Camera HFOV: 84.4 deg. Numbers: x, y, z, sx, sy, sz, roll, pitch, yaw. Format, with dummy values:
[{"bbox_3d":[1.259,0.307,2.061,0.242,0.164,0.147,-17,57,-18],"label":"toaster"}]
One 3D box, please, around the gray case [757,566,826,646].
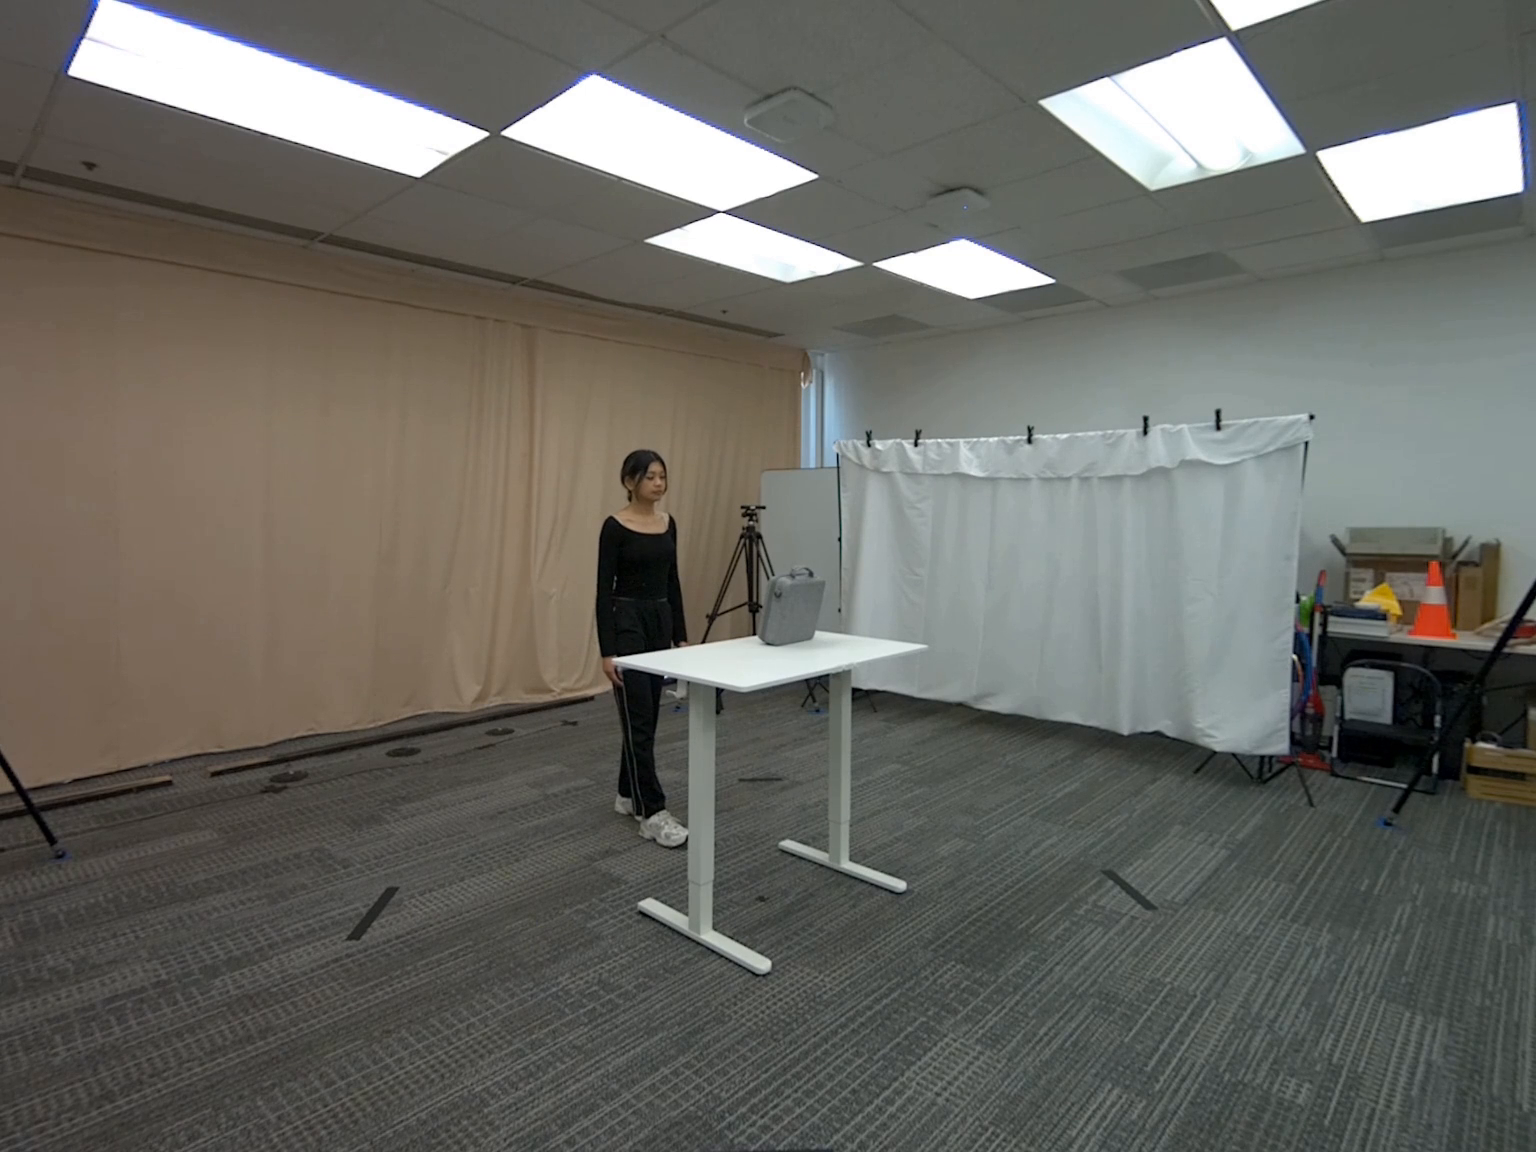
[{"bbox_3d":[0.092,0.119,3.129,0.108,0.259,0.249,19,16,38],"label":"gray case"}]
